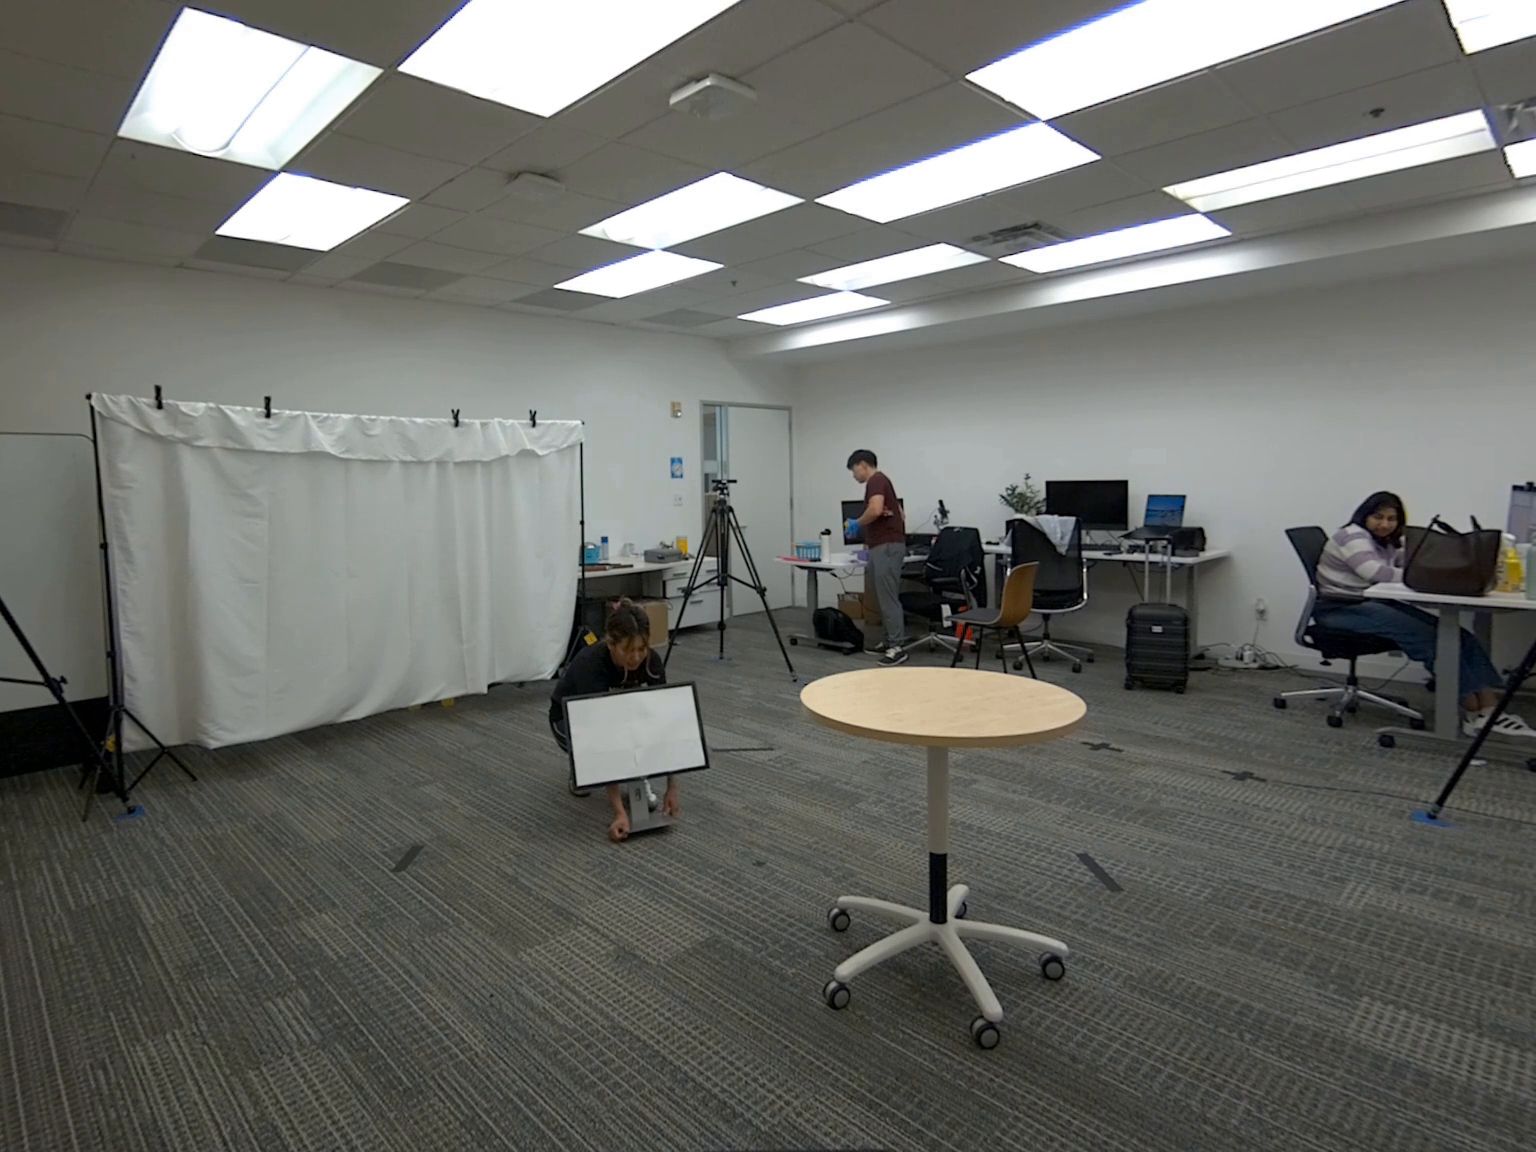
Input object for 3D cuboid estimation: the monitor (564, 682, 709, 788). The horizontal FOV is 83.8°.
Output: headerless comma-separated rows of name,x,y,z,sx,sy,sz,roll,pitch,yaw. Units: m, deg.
monitor,-0.533,0.734,3.459,0.529,0.526,0.189,-4,-6,-23
